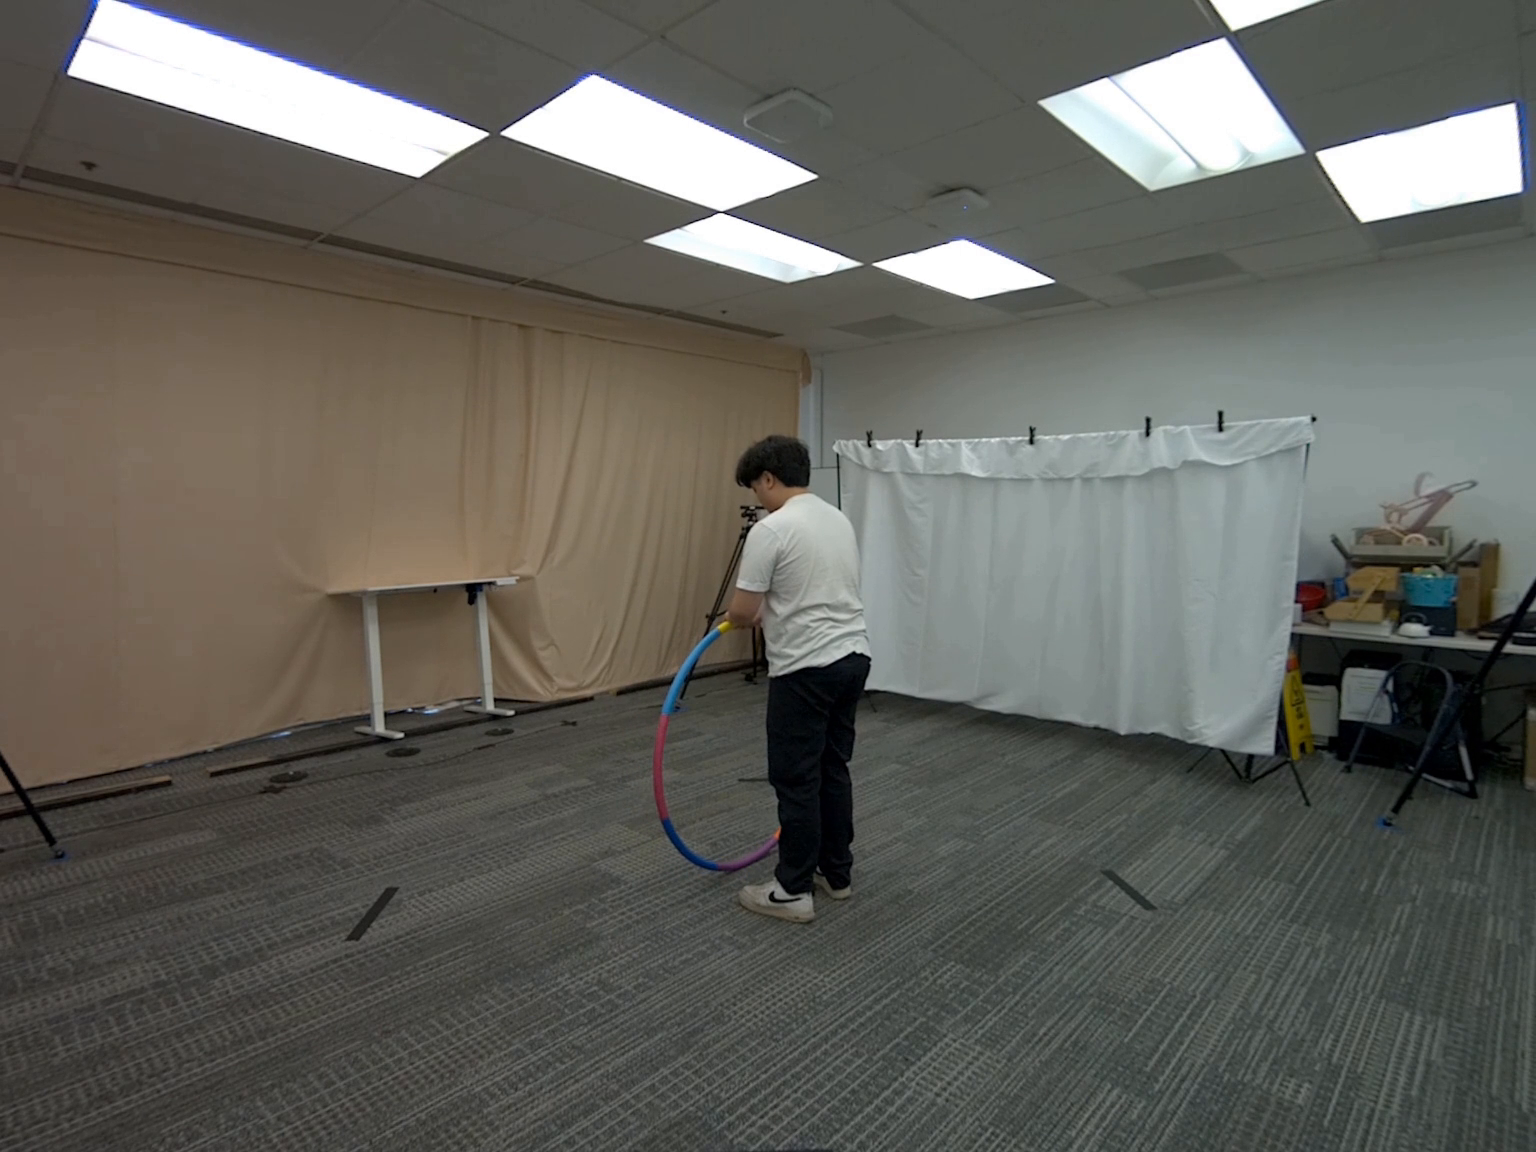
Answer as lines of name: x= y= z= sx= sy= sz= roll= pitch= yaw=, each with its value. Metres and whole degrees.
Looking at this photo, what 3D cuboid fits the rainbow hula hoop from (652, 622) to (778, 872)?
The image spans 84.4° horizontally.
rainbow hula hoop: x=-0.077 y=0.633 z=3.240 sx=0.053 sy=0.983 sz=0.955 roll=4 pitch=5 yaw=41
